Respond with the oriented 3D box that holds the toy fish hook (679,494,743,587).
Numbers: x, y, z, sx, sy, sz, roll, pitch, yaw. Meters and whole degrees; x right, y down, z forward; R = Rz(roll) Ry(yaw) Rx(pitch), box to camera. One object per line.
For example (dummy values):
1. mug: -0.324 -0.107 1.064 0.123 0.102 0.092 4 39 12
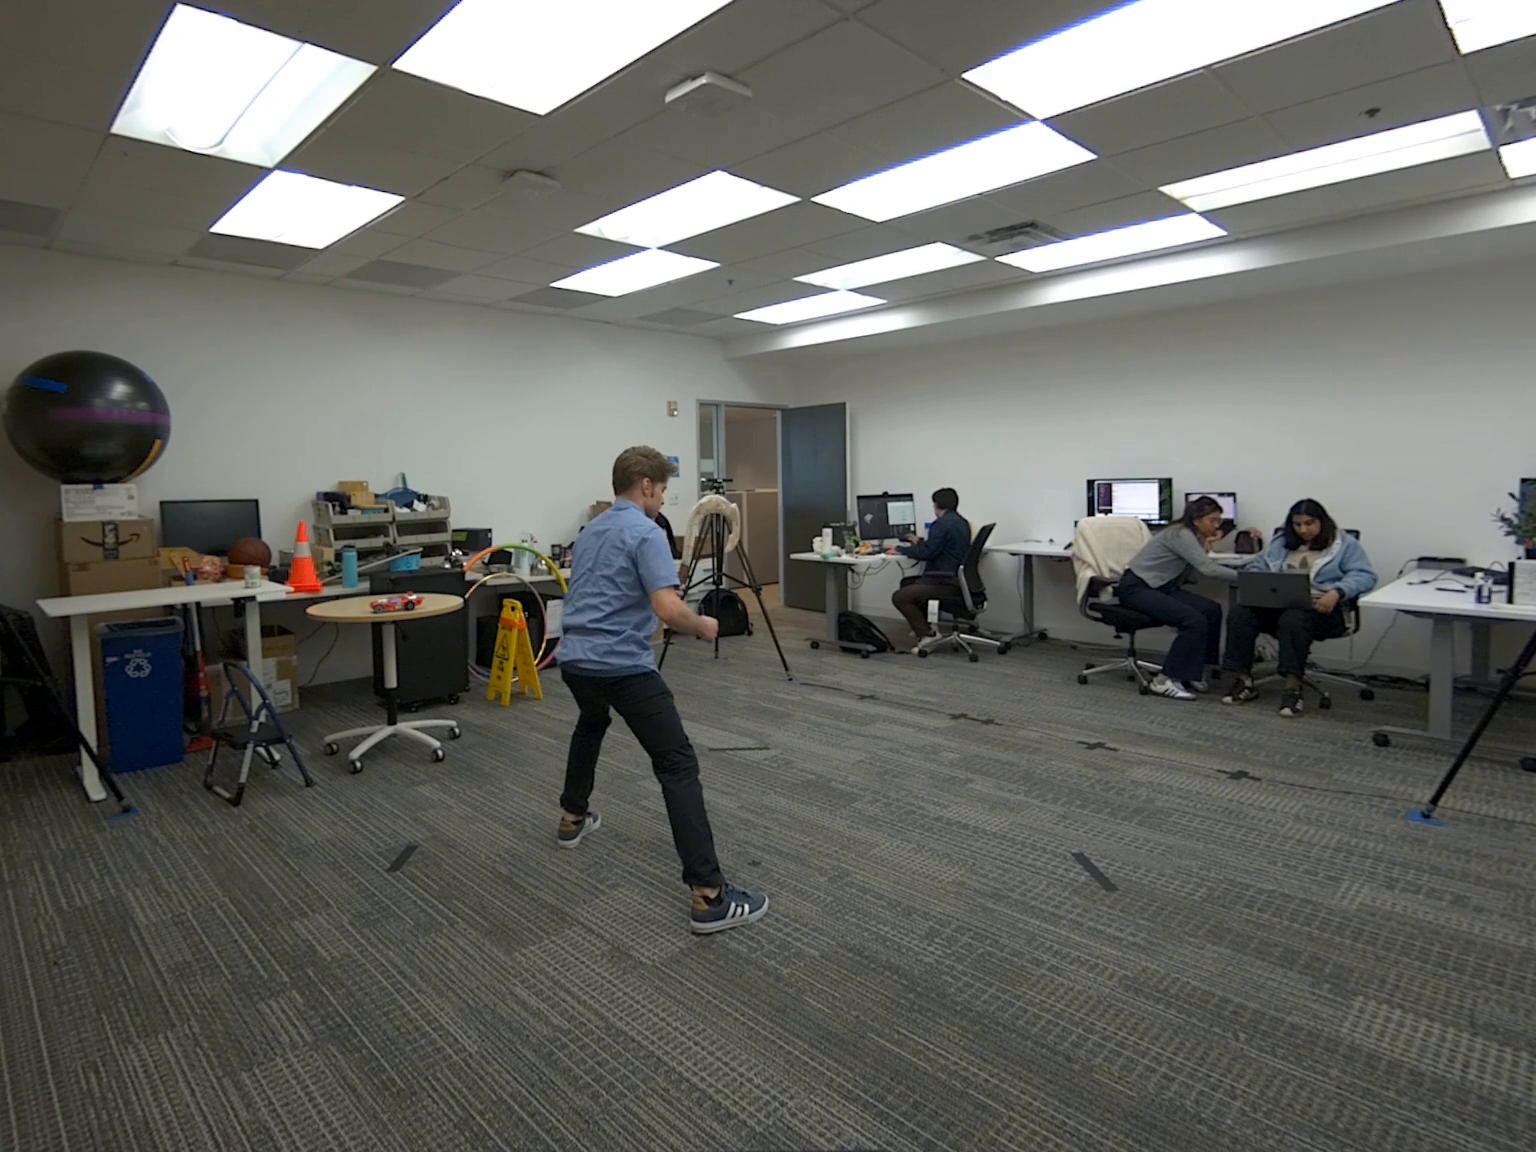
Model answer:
1. toy fish hook: -0.270 -0.077 3.419 0.221 0.508 0.049 26 -6 -13
